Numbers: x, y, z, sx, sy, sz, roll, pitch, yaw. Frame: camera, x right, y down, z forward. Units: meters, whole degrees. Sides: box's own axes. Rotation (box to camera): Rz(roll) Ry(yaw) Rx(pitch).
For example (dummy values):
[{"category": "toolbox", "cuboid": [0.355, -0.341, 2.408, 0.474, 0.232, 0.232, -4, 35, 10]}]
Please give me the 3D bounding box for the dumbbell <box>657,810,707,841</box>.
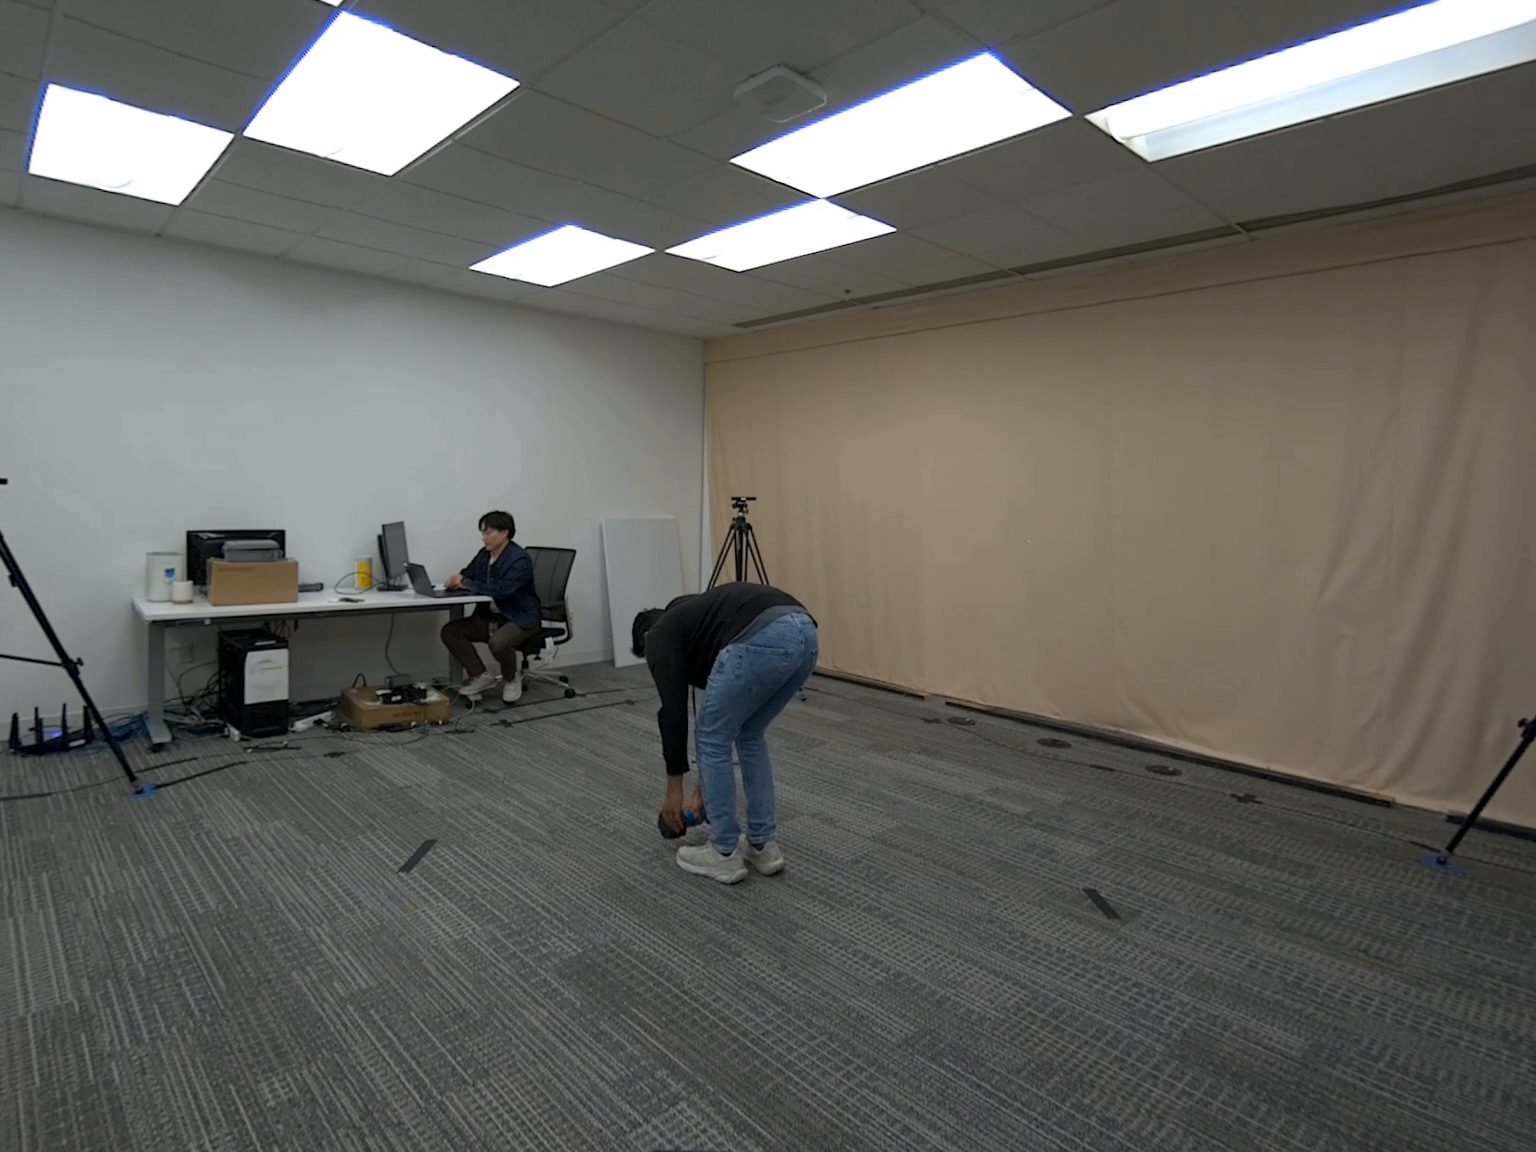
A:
[{"category": "dumbbell", "cuboid": [-0.302, 0.961, 3.387, 0.287, 0.108, 0.126, -5, 47, -40]}]
